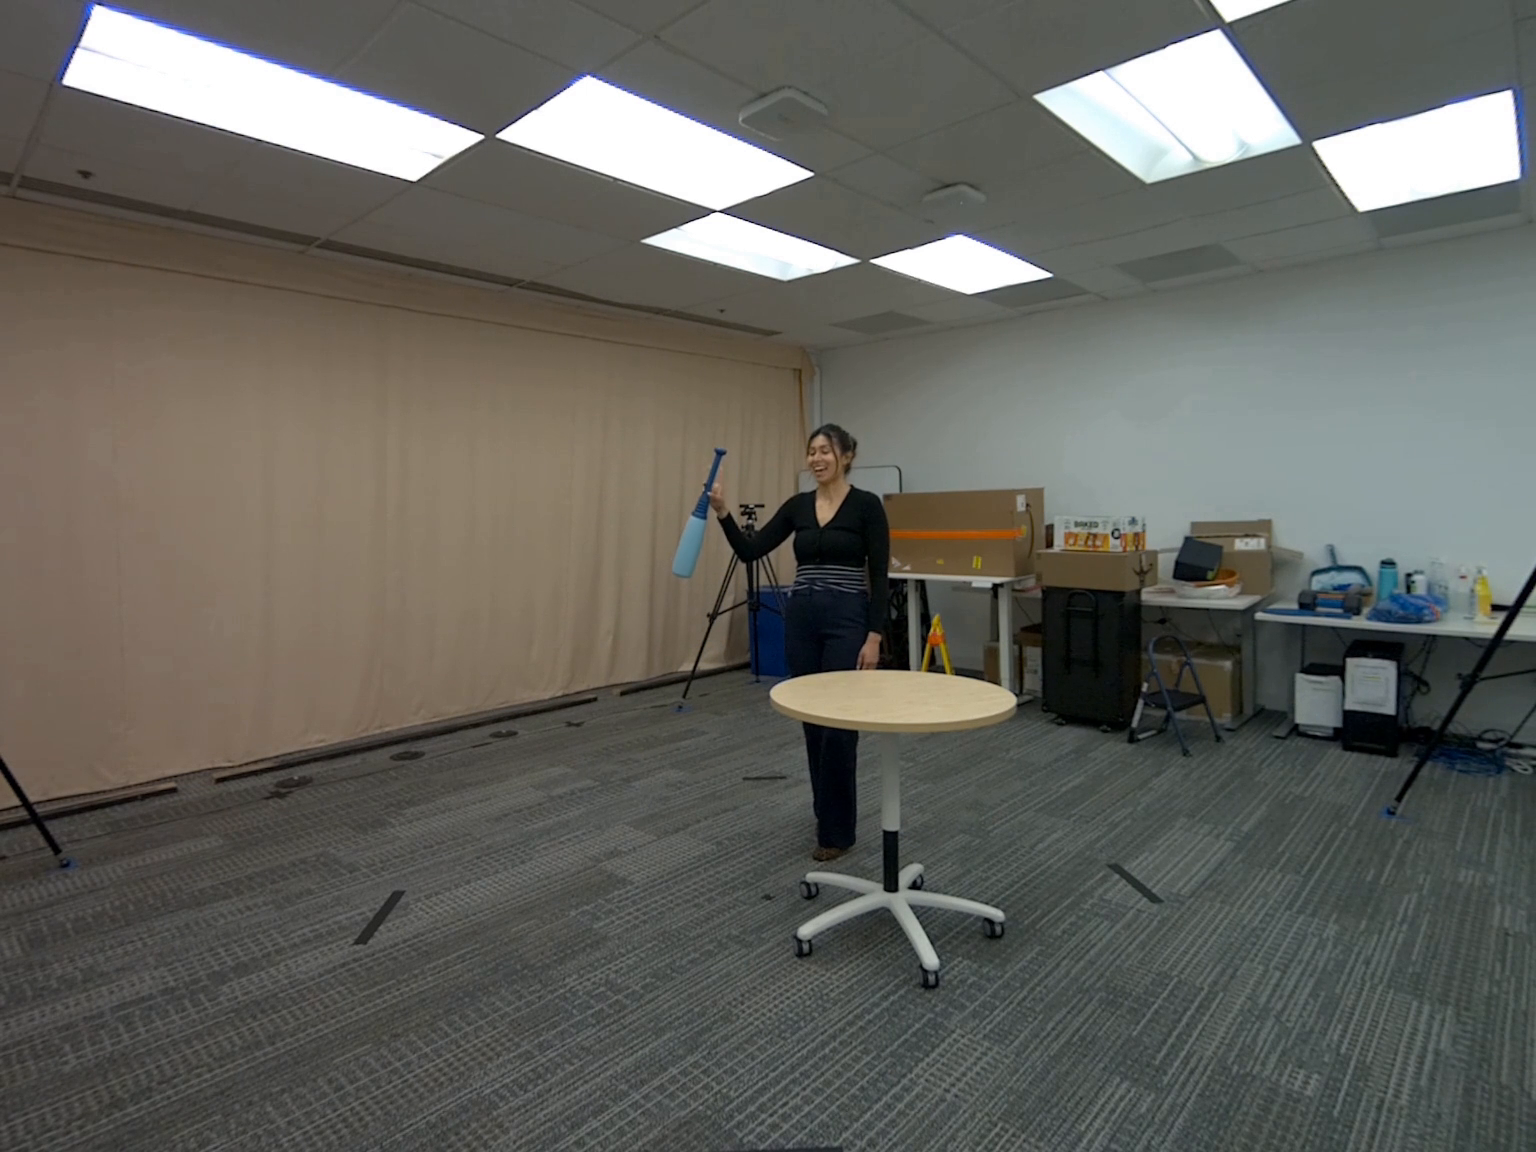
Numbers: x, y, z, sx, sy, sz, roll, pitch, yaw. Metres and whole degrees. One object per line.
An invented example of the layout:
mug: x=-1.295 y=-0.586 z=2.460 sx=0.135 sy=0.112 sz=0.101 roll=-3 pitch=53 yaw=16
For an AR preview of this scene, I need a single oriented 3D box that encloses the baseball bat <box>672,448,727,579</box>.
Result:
baseball bat: x=-0.275 y=-0.243 z=3.386 sx=0.089 sy=0.541 sz=0.090 roll=16 pitch=9 yaw=-5
